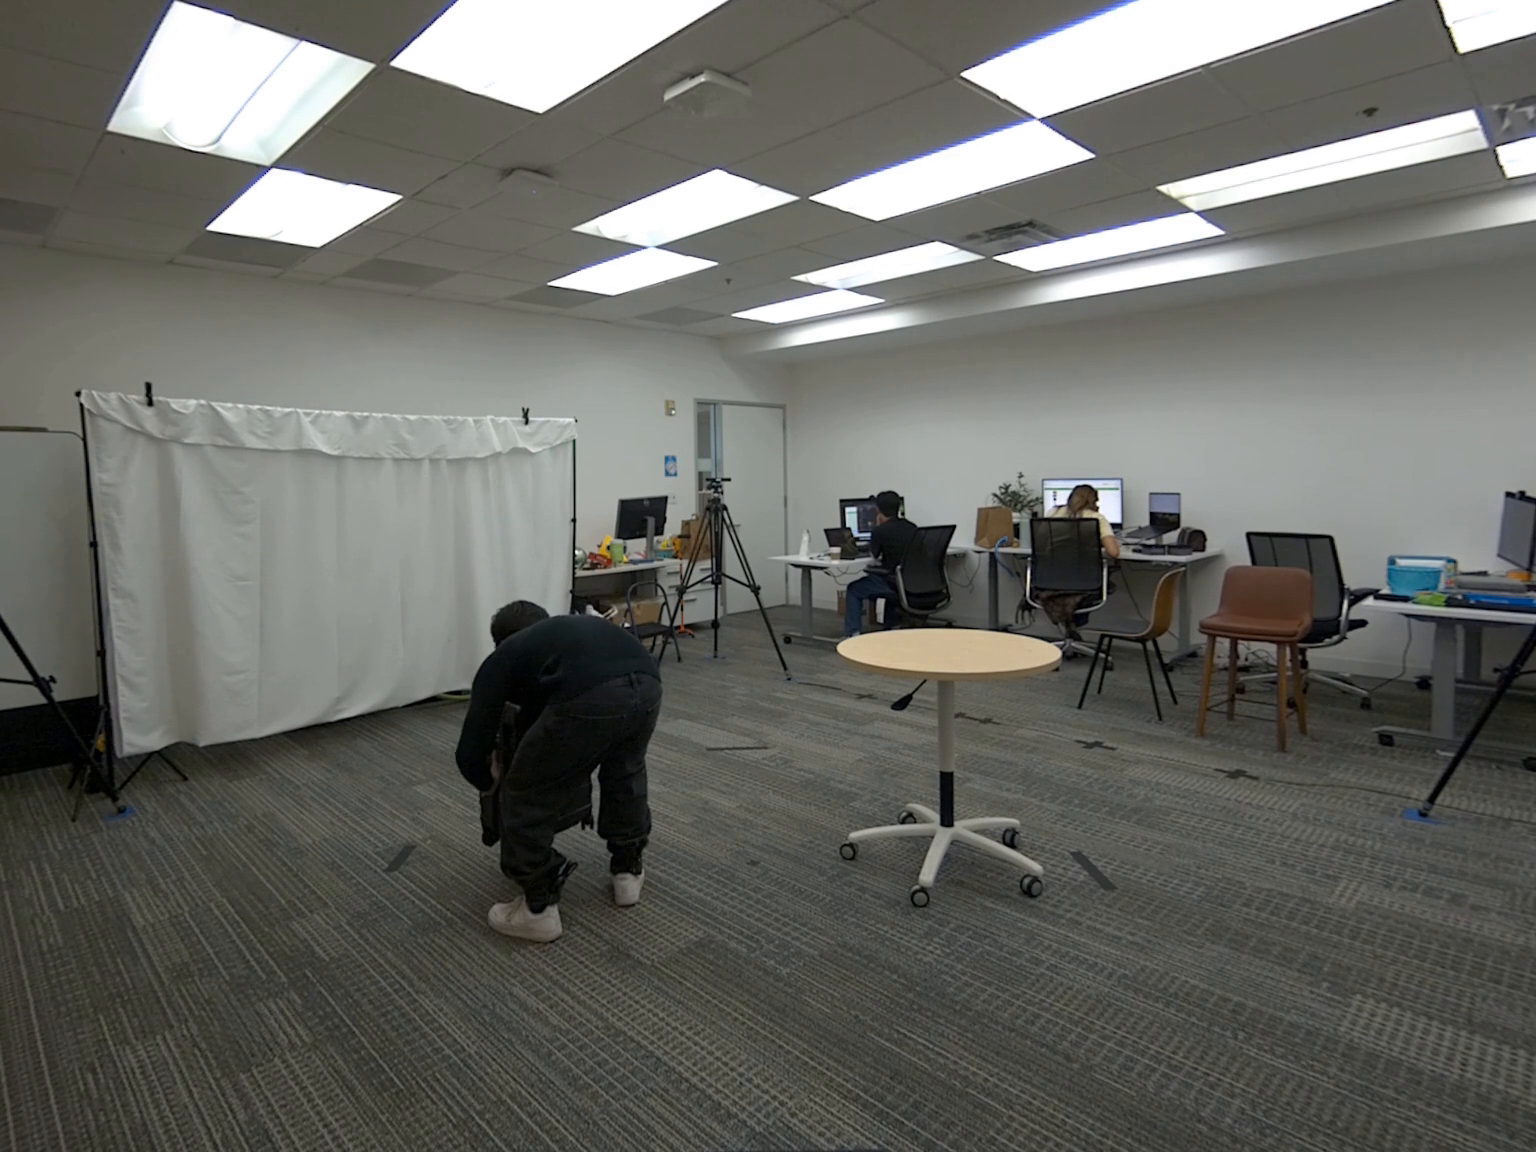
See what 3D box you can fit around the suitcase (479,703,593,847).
[{"bbox_3d":[-0.816,0.654,3.021,0.255,0.547,0.366,3,5,37],"label":"suitcase"}]
